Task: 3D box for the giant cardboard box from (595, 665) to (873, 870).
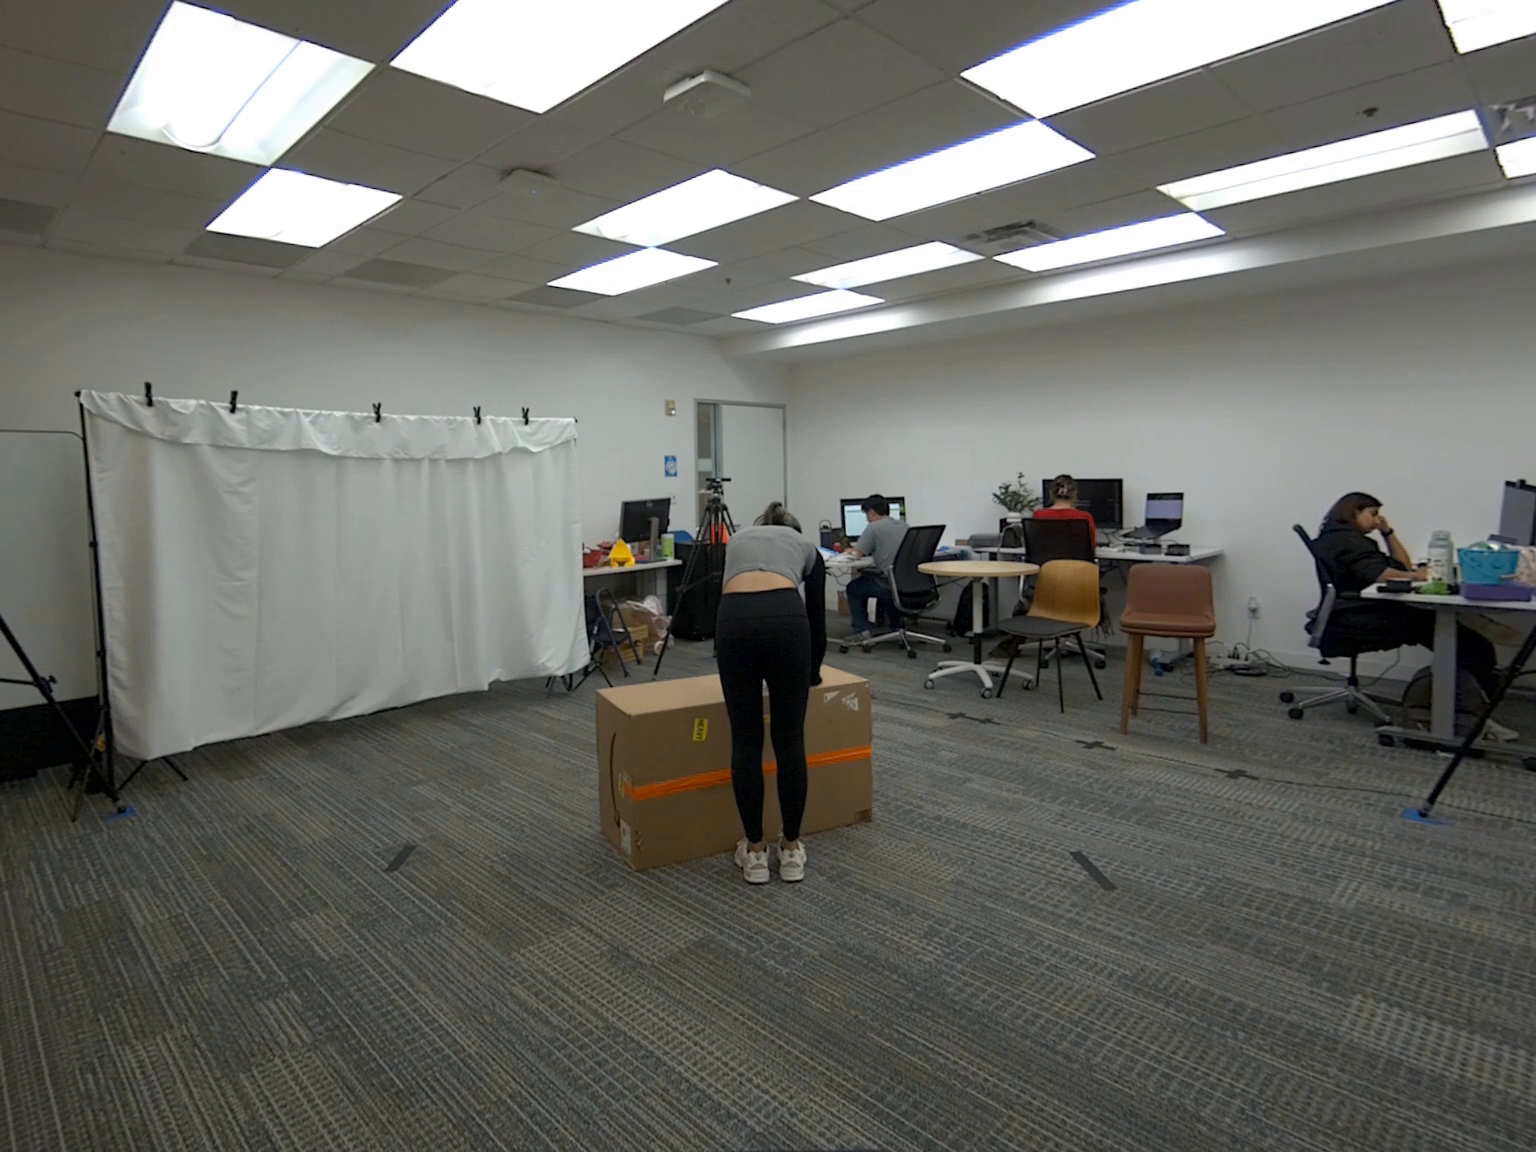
[{"bbox_3d":[-0.131,0.718,3.429,1.005,0.575,0.437,-4,5,-25],"label":"giant cardboard box"}]
